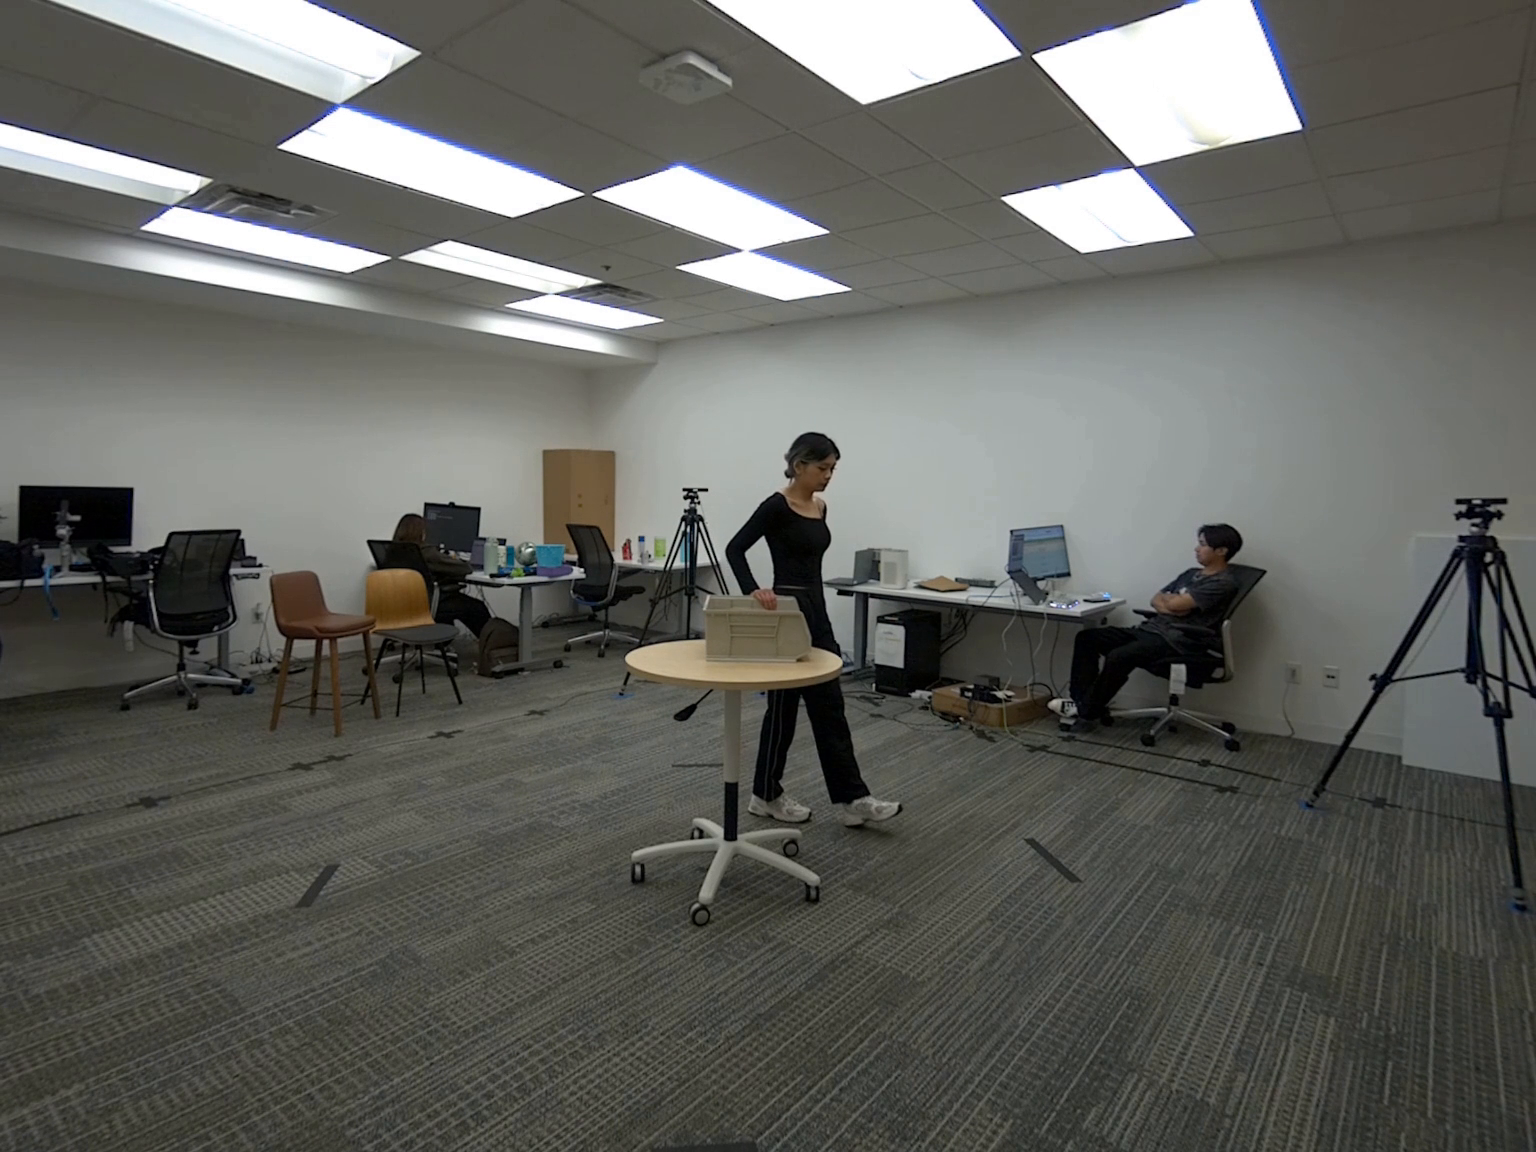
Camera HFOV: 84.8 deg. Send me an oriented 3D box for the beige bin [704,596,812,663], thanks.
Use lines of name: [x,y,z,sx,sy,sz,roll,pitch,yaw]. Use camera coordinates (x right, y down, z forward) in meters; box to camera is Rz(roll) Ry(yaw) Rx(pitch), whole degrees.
beige bin: [-0.038,0.181,3.151,0.377,0.188,0.425,-2,6,-2]
